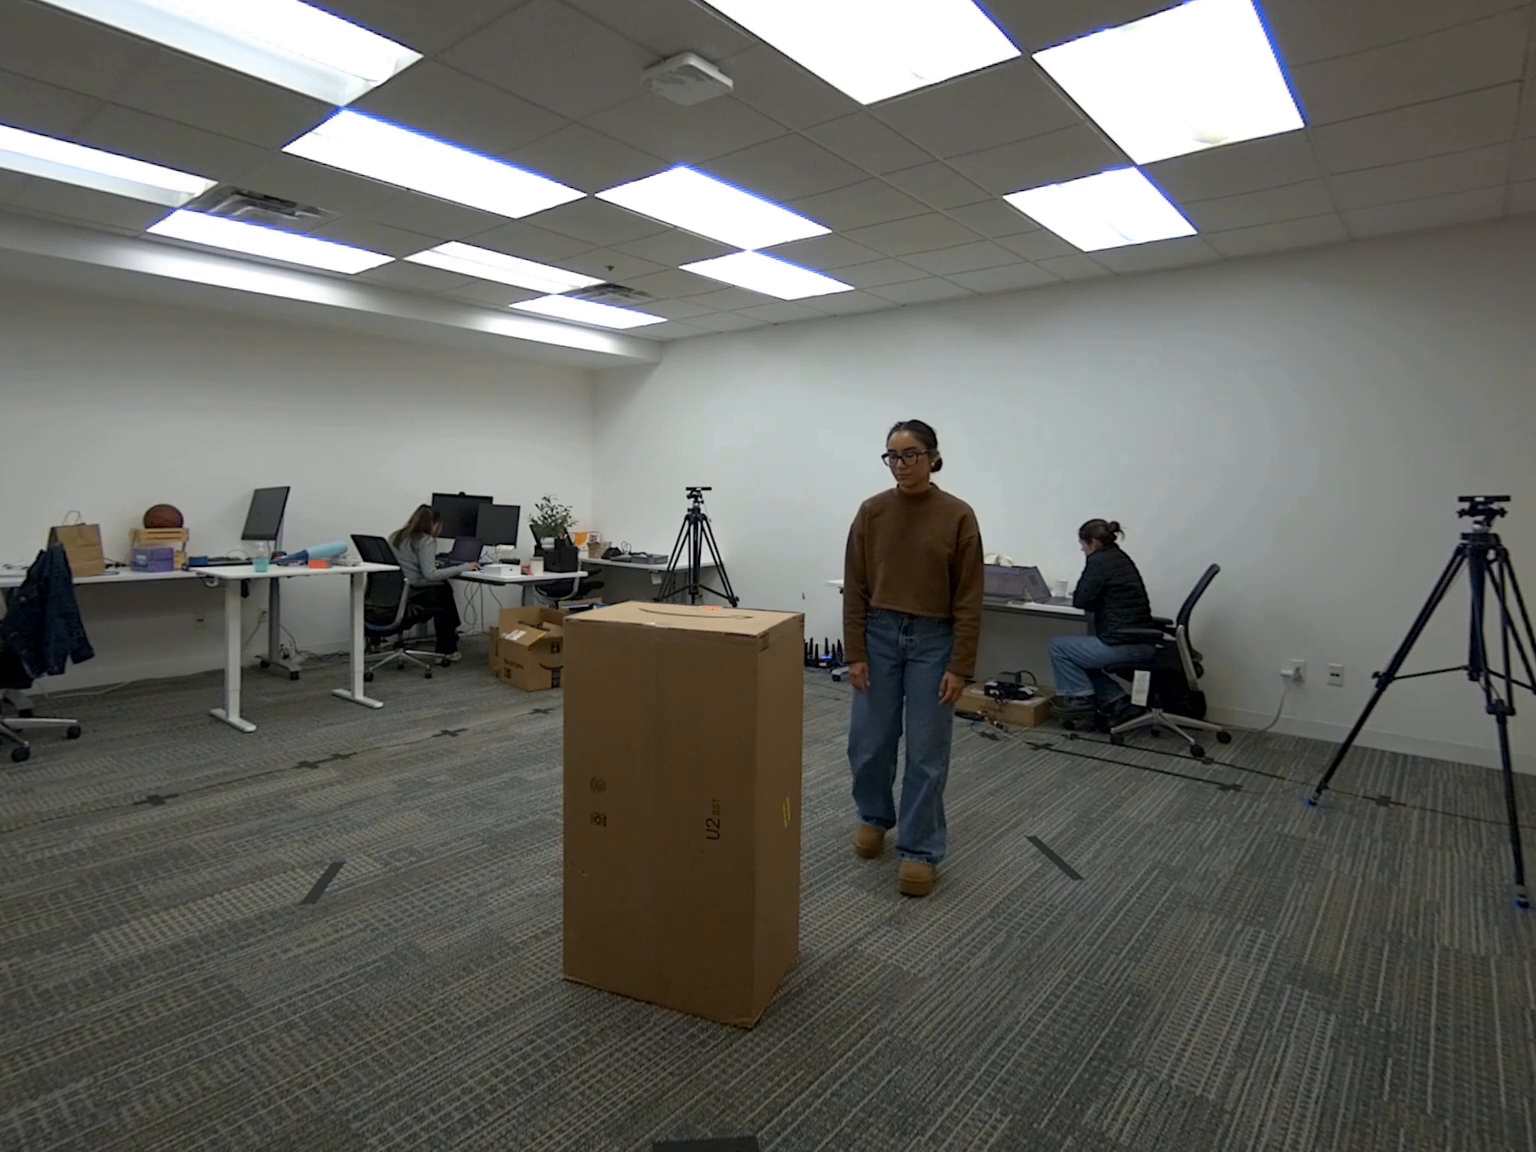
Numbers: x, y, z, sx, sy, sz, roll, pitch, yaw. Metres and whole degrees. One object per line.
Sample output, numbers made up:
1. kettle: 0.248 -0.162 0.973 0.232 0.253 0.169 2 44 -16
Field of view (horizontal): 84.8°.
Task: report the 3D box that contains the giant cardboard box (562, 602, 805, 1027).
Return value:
1. giant cardboard box: -0.244 0.619 2.451 0.591 1.023 0.418 2 3 21
